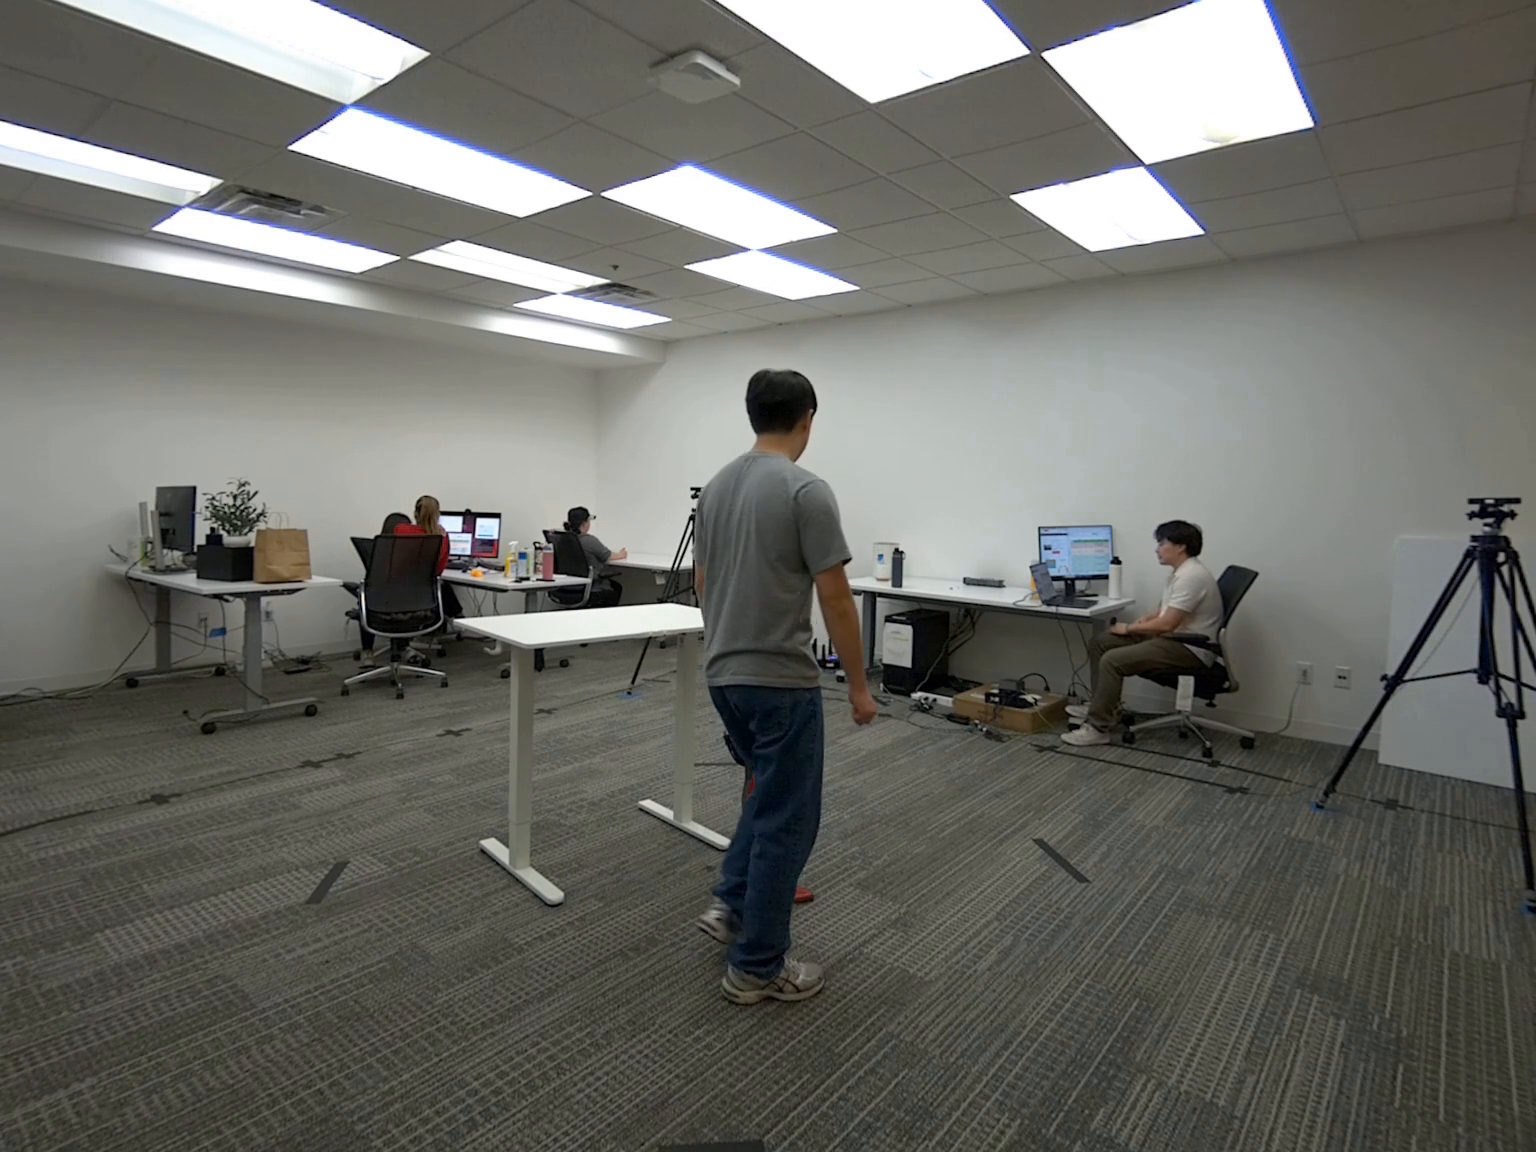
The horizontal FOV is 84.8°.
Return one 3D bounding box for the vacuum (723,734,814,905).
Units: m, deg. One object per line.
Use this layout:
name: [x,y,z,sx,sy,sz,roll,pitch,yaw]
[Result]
vacuum: [-0.065,0.595,3.076,0.246,1.074,0.144,2,-24,-27]
